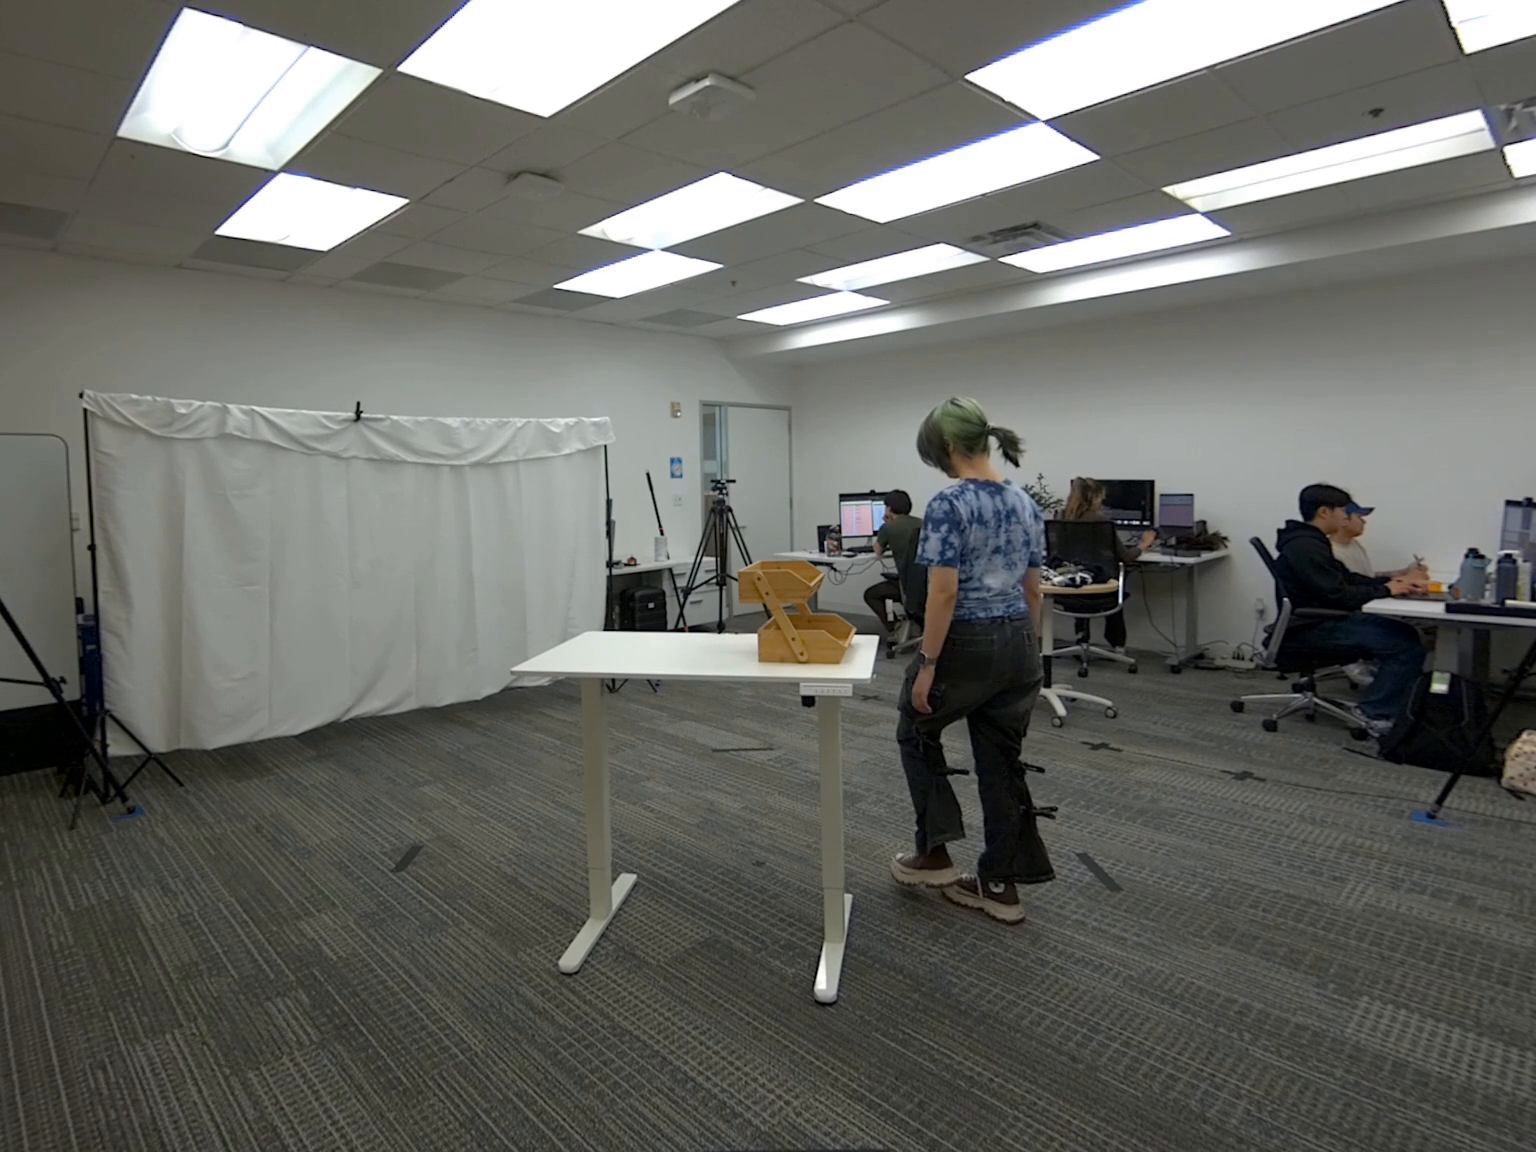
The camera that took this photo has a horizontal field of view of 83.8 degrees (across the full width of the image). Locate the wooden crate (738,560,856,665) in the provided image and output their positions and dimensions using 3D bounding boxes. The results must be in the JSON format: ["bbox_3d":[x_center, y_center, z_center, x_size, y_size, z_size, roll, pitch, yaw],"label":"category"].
[{"bbox_3d":[0.104,0.095,2.514,0.306,0.272,0.322,-1,5,13],"label":"wooden crate"}]
